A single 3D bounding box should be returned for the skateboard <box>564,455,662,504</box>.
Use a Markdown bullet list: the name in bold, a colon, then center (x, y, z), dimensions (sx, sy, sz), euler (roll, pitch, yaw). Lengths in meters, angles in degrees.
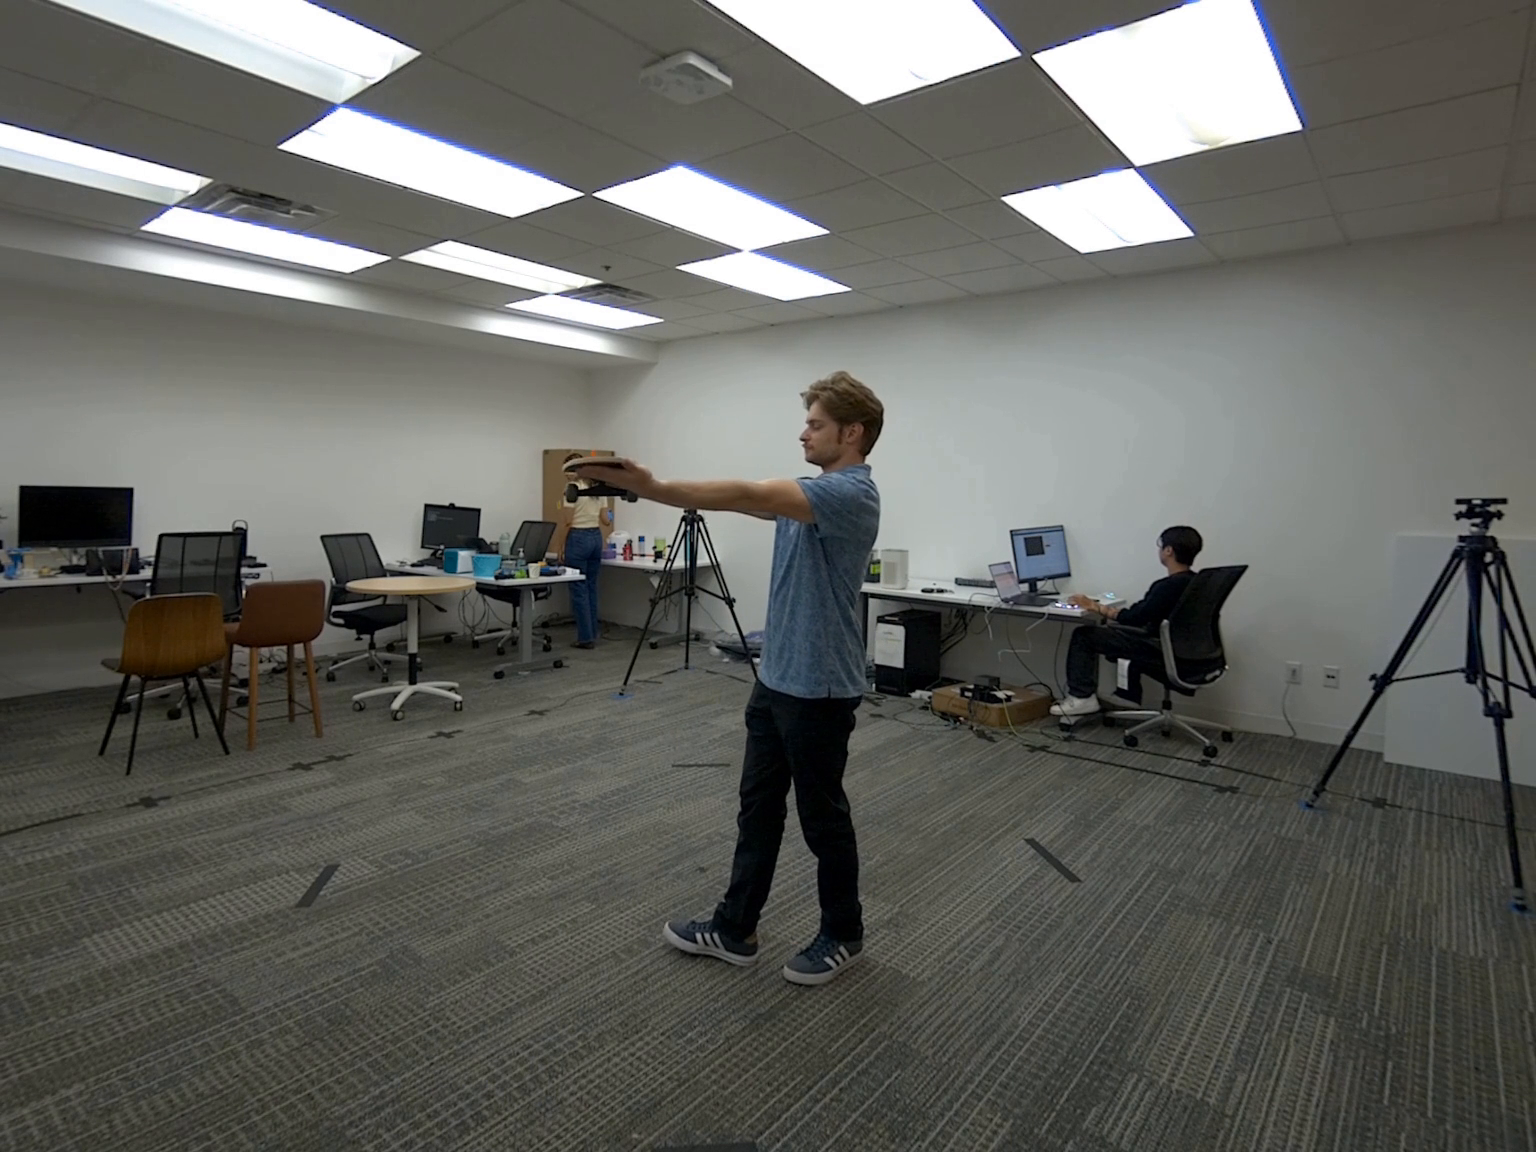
- **skateboard**: center (-0.457, -0.261, 2.358), dimensions (0.190, 0.110, 0.800), euler (-1, 5, -16)
